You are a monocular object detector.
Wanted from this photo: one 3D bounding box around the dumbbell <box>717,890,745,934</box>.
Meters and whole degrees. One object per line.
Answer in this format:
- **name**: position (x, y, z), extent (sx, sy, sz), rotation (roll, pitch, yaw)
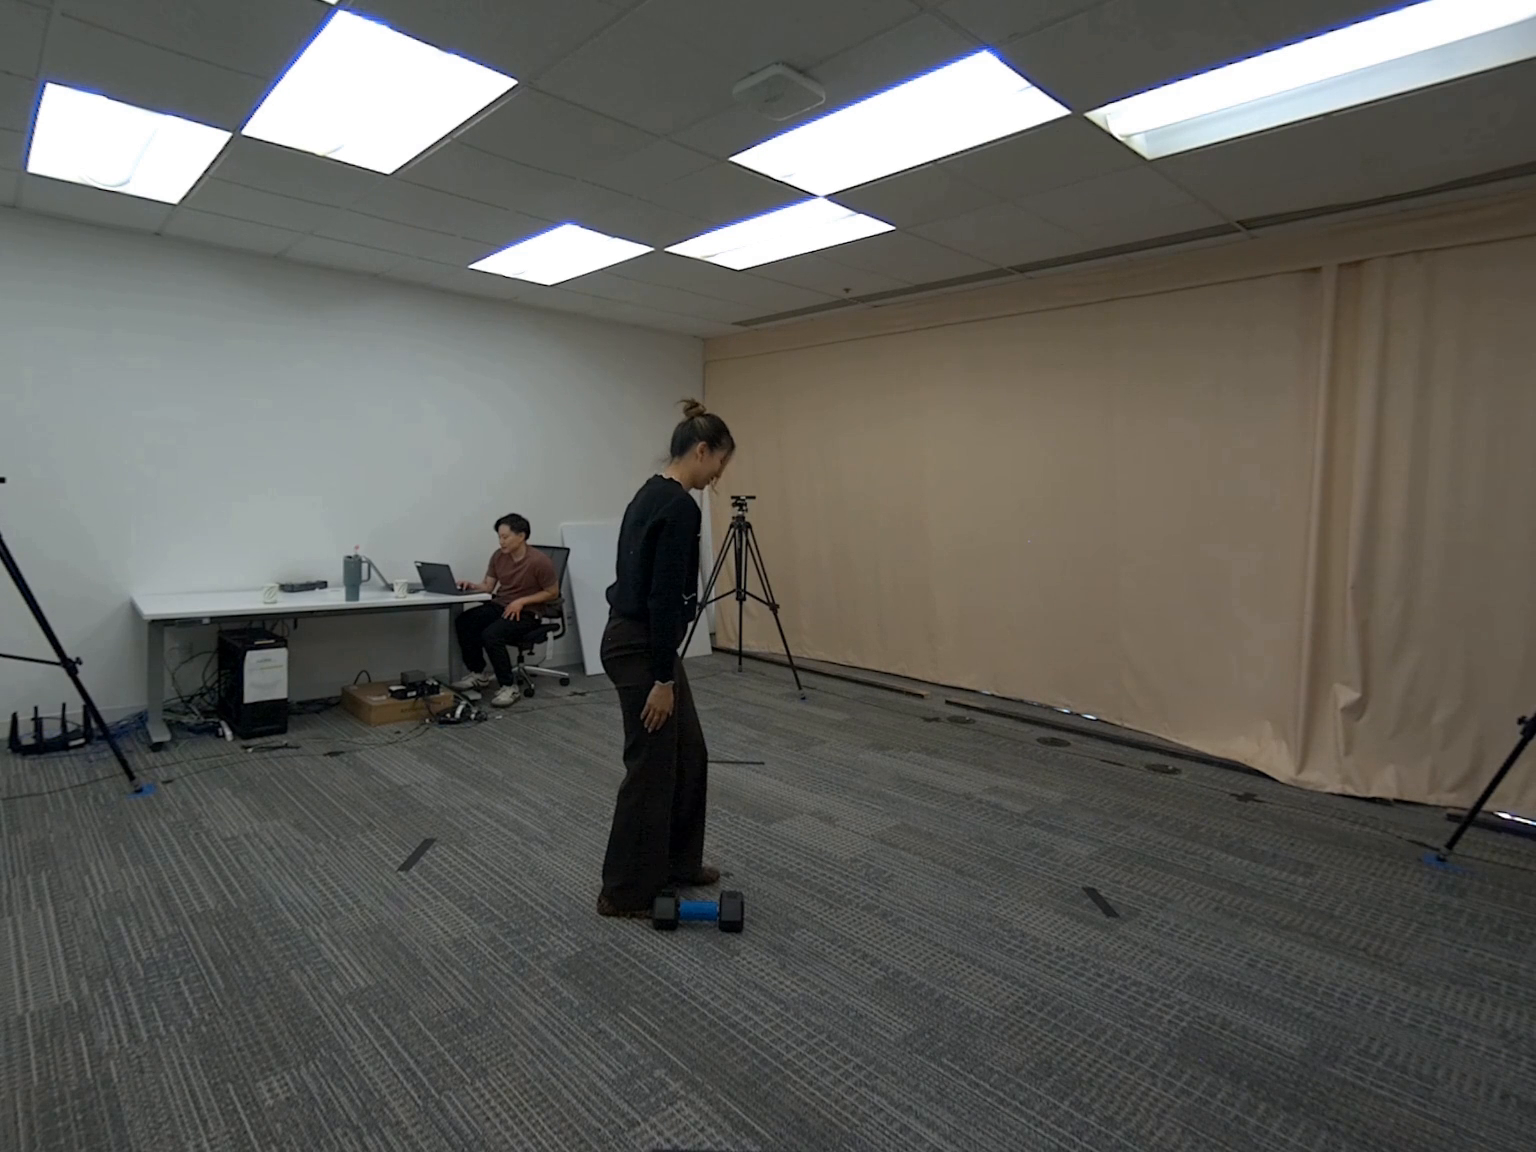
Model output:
- **dumbbell**: position (-0.228, 1.088, 2.709), extent (0.294, 0.120, 0.111), rotation (1, 31, 0)
